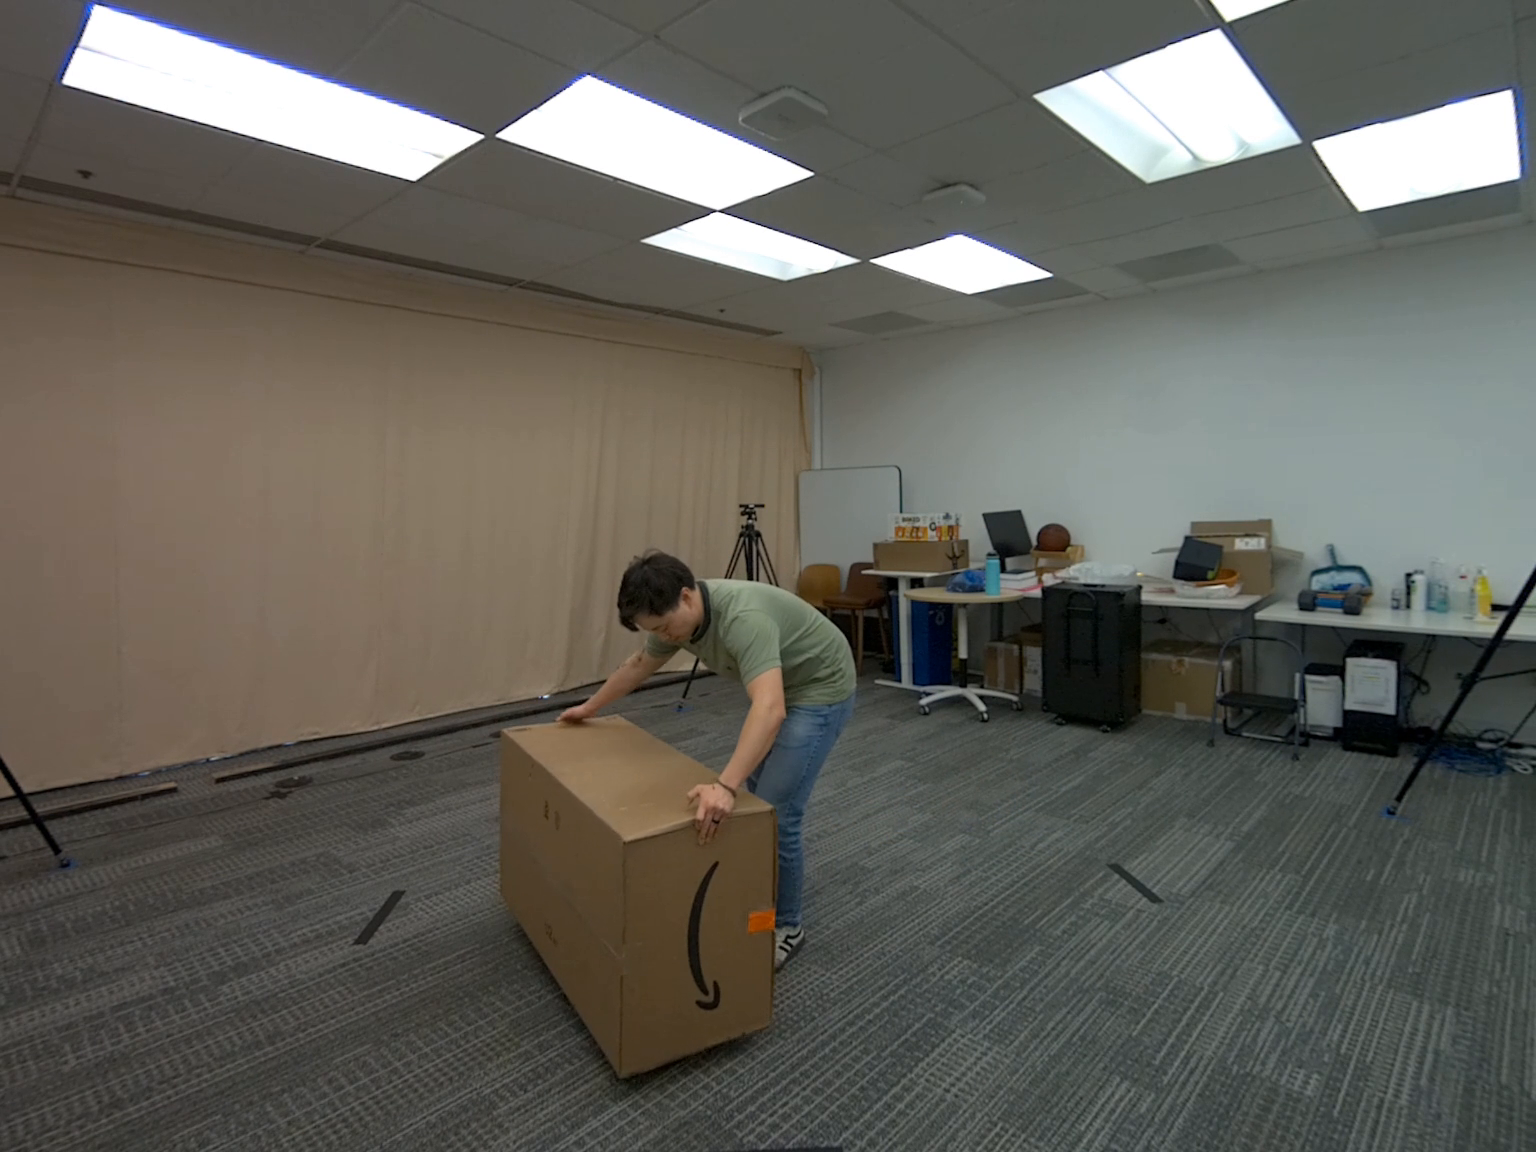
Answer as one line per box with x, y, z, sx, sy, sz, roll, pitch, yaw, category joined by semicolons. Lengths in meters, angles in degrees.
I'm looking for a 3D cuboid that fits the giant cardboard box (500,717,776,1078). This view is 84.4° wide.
-0.435;0.824;2.482;0.414;0.576;1.057;-1;5;-32;giant cardboard box
